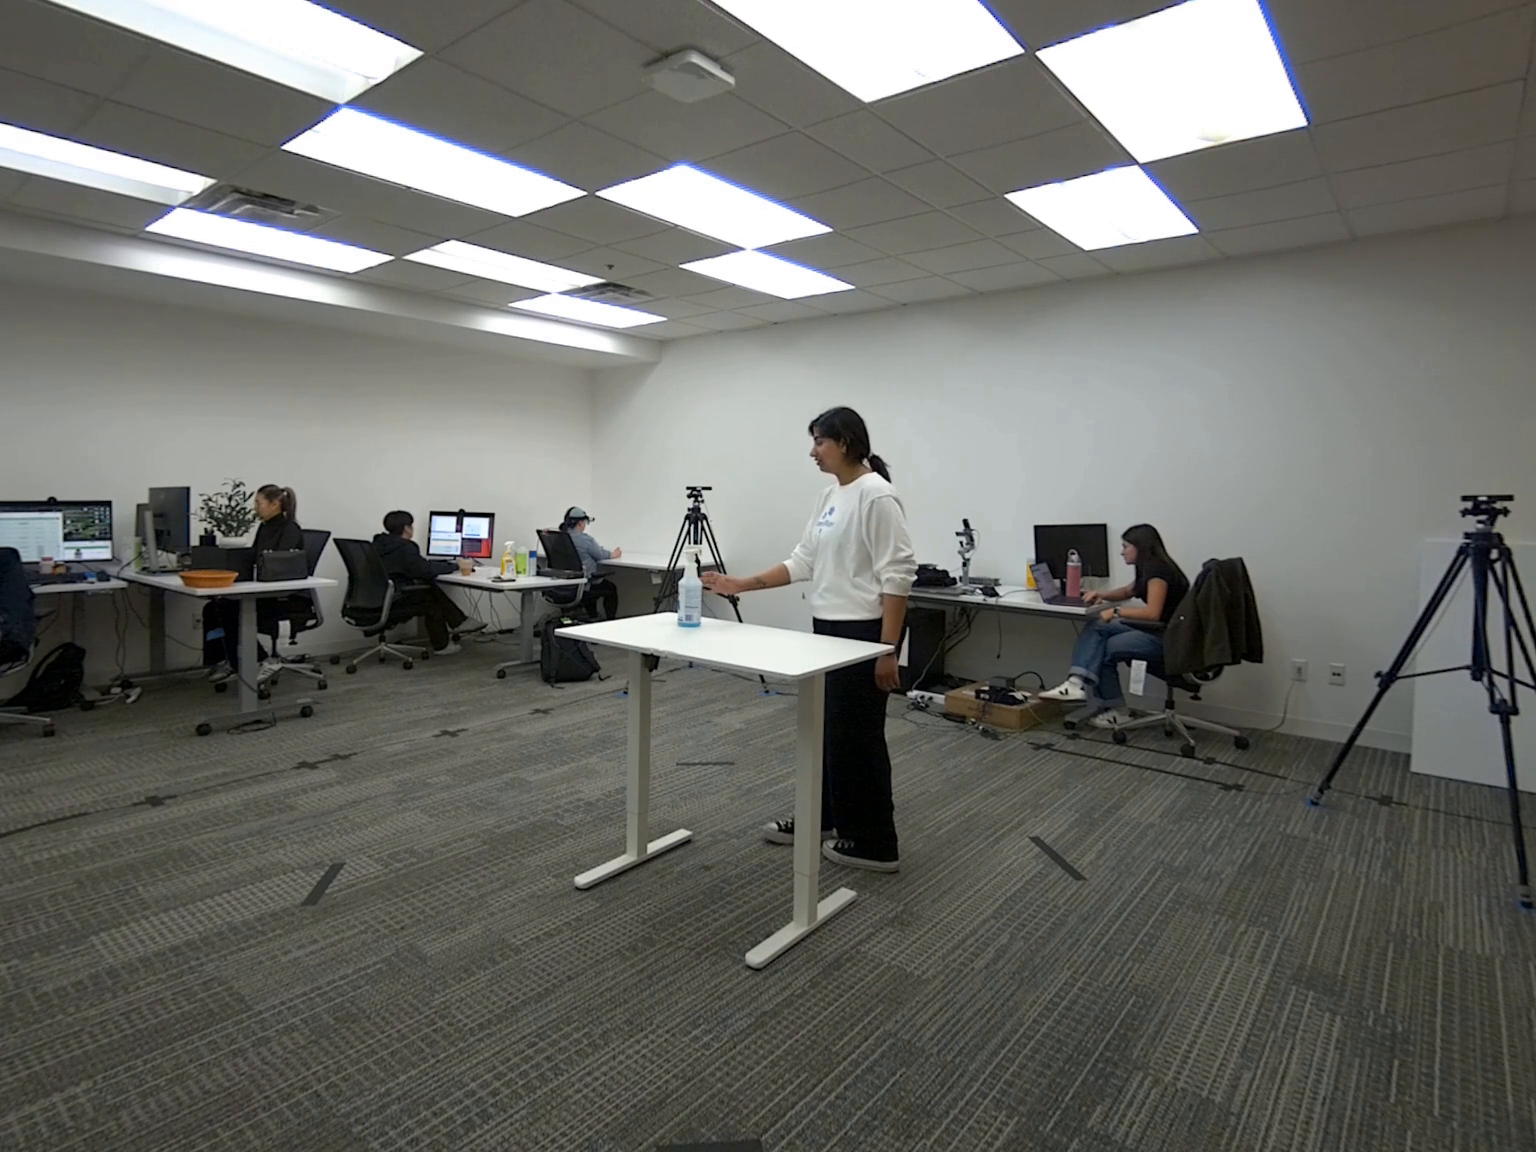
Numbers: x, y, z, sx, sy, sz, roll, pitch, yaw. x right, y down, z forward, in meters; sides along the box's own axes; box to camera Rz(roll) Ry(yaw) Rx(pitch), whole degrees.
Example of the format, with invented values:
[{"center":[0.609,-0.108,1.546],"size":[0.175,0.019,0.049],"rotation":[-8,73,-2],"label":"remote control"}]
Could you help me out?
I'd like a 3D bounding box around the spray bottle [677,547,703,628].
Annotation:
[{"center":[-0.280,0.035,3.101],"size":[0.085,0.296,0.093],"rotation":[1,6,-28],"label":"spray bottle"}]
